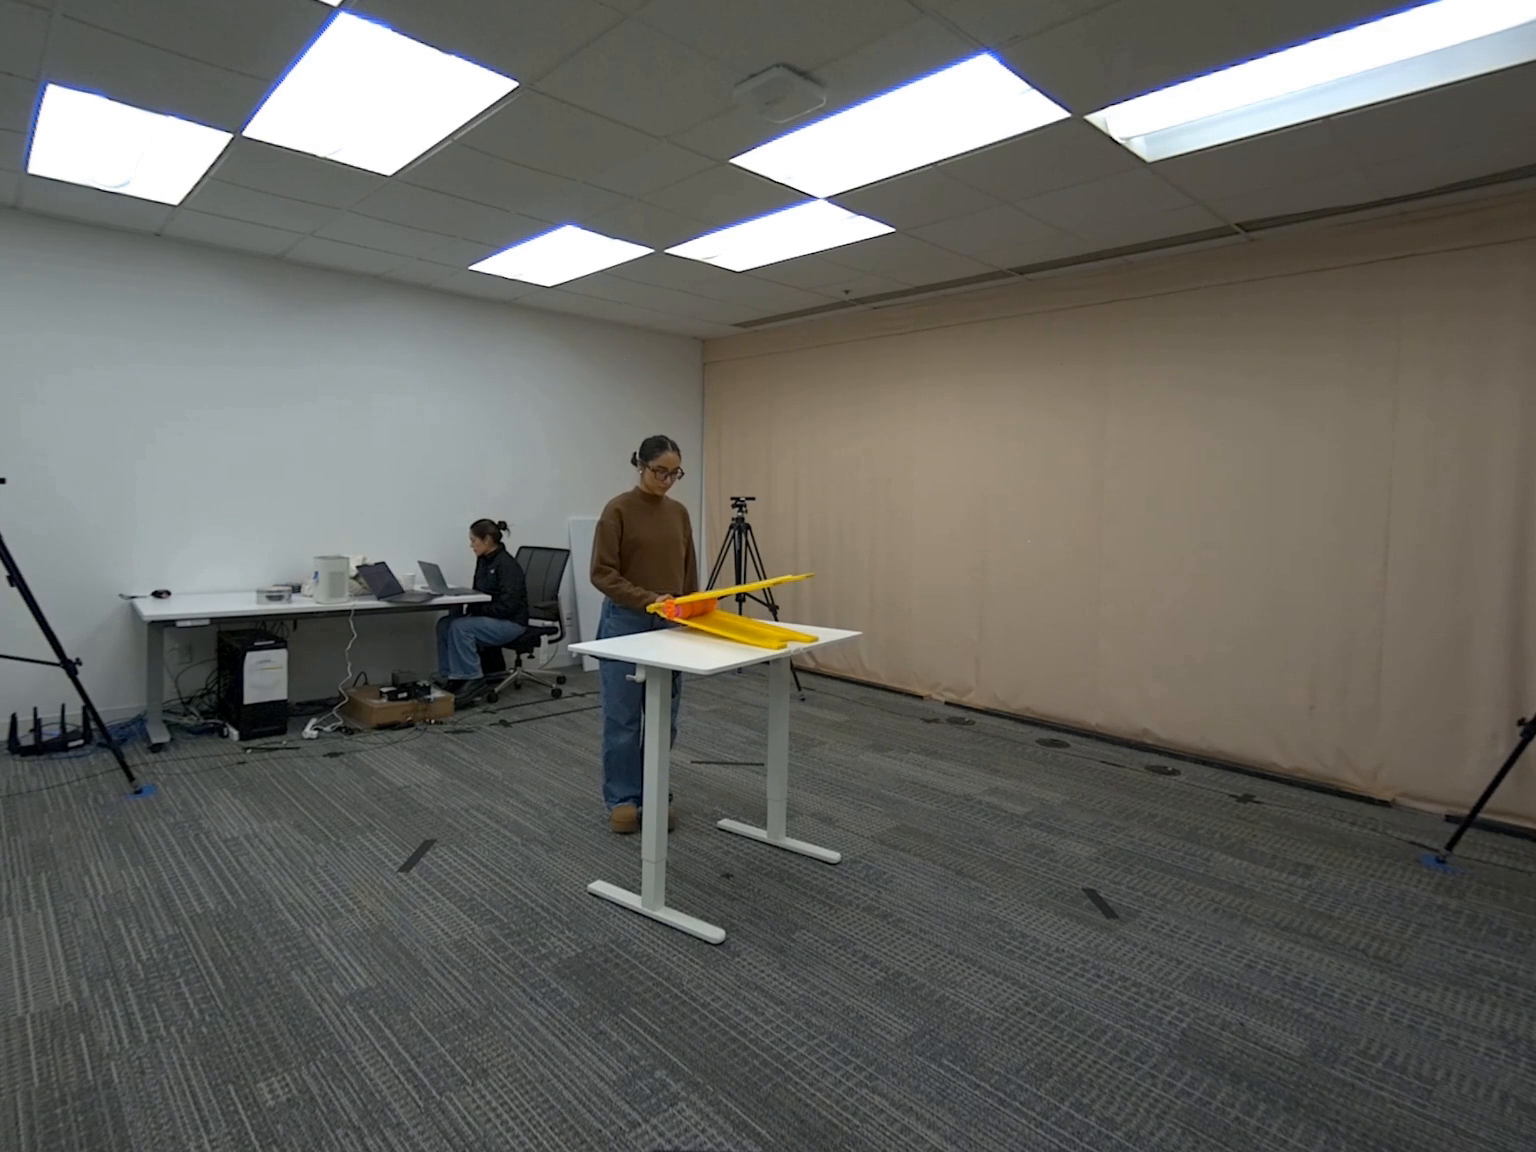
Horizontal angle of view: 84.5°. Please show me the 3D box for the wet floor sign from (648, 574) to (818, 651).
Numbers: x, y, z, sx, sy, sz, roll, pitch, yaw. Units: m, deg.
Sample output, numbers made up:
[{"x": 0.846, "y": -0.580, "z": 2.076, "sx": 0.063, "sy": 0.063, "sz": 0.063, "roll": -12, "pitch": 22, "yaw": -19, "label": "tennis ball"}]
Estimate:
[{"x": -0.166, "y": 0.121, "z": 3.156, "sx": 0.661, "sy": 0.288, "sz": 0.277, "roll": 3, "pitch": 7, "yaw": 37, "label": "wet floor sign"}]
